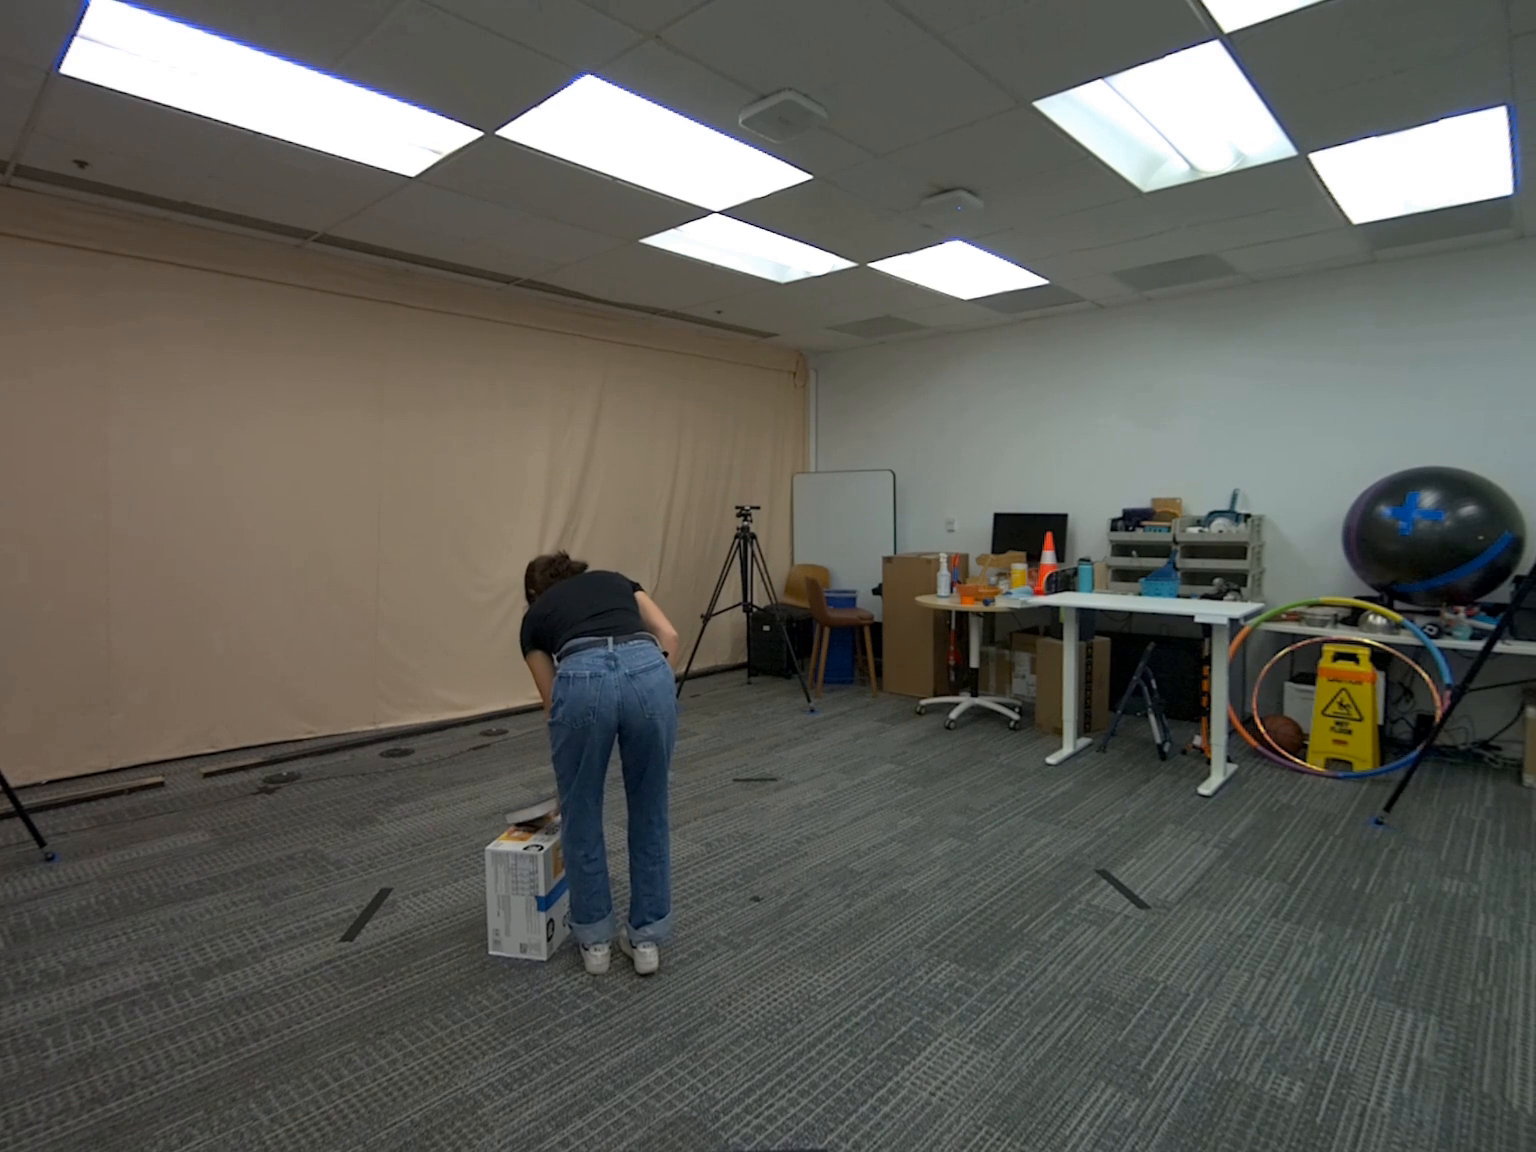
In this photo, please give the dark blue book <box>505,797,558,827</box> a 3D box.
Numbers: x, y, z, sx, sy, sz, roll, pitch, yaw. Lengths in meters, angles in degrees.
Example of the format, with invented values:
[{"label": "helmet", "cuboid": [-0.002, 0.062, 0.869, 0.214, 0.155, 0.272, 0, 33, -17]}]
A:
[{"label": "dark blue book", "cuboid": [-0.764, 0.768, 2.799, 0.159, 0.045, 0.250, -15, -7, -40]}]
